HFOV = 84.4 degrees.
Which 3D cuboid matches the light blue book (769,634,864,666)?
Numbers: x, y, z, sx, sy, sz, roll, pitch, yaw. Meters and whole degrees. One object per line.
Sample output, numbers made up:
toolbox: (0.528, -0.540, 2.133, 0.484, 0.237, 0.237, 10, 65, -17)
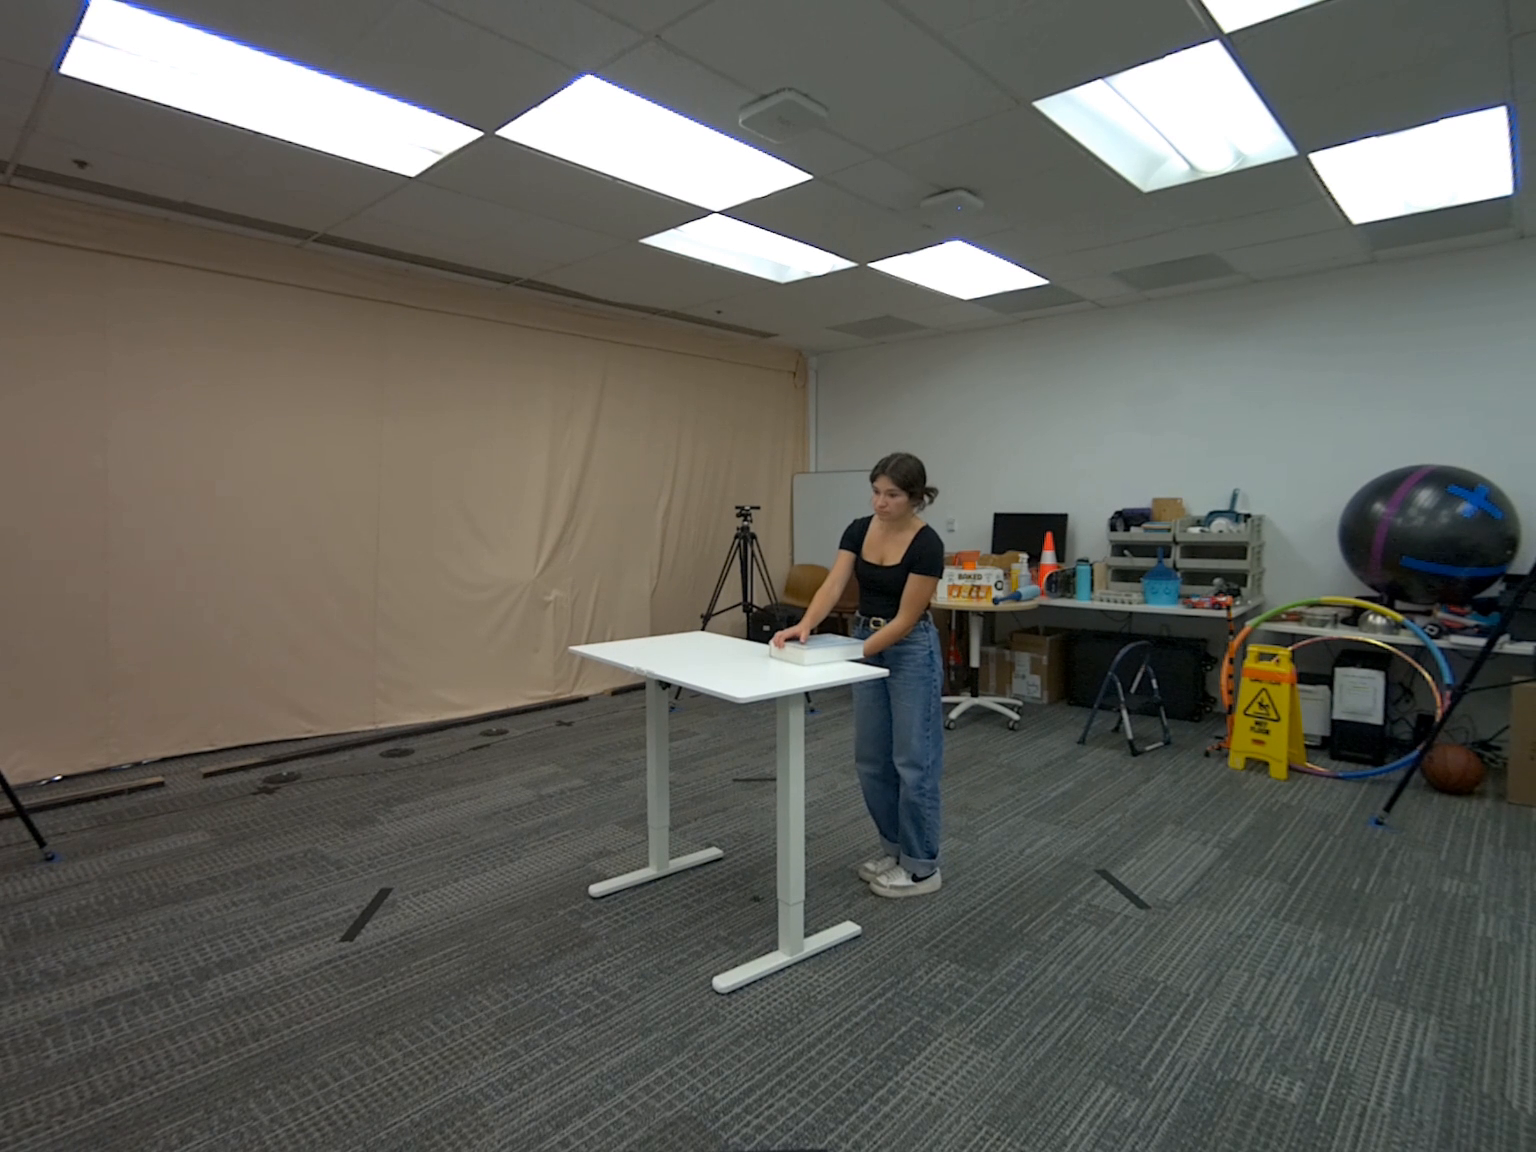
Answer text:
light blue book: (0.170, 0.246, 2.832, 0.253, 0.059, 0.197, -5, 7, -36)
